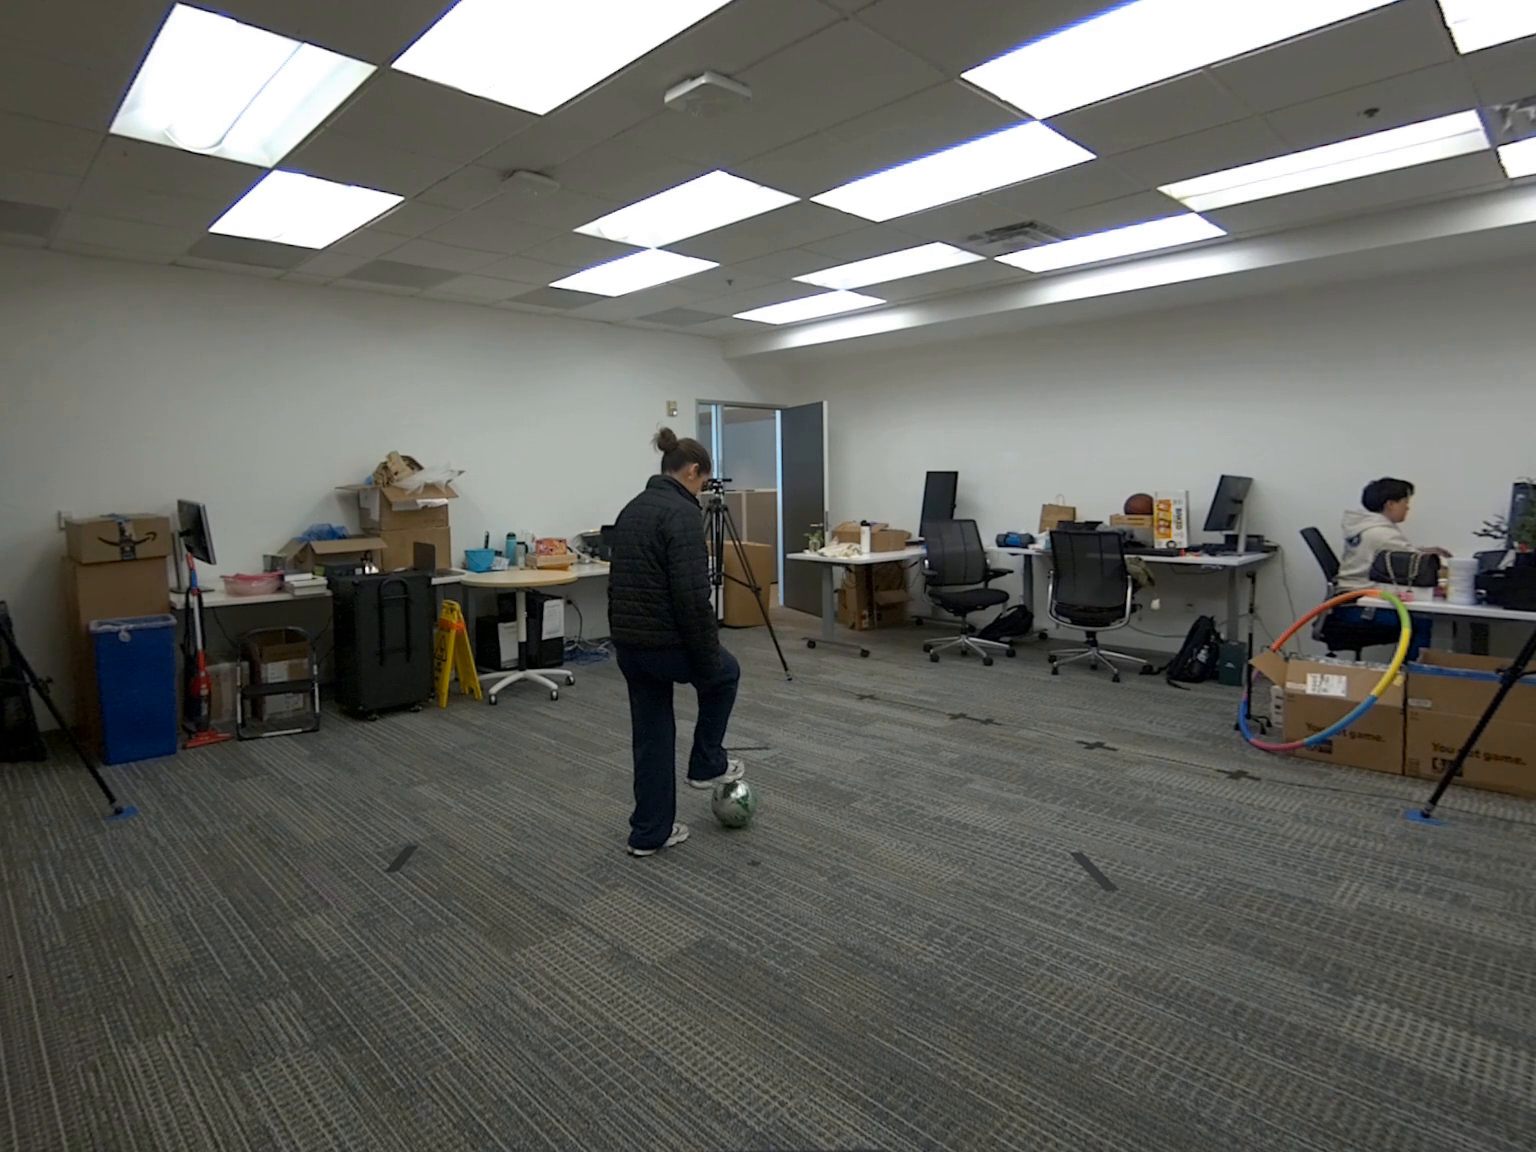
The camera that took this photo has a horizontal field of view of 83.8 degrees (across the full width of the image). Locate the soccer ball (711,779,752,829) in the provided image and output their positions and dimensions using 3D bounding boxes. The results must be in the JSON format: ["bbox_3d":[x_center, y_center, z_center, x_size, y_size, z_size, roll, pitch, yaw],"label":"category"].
[{"bbox_3d":[-0.129,0.912,3.444,0.187,0.187,0.188,-1,5,-2],"label":"soccer ball"}]
